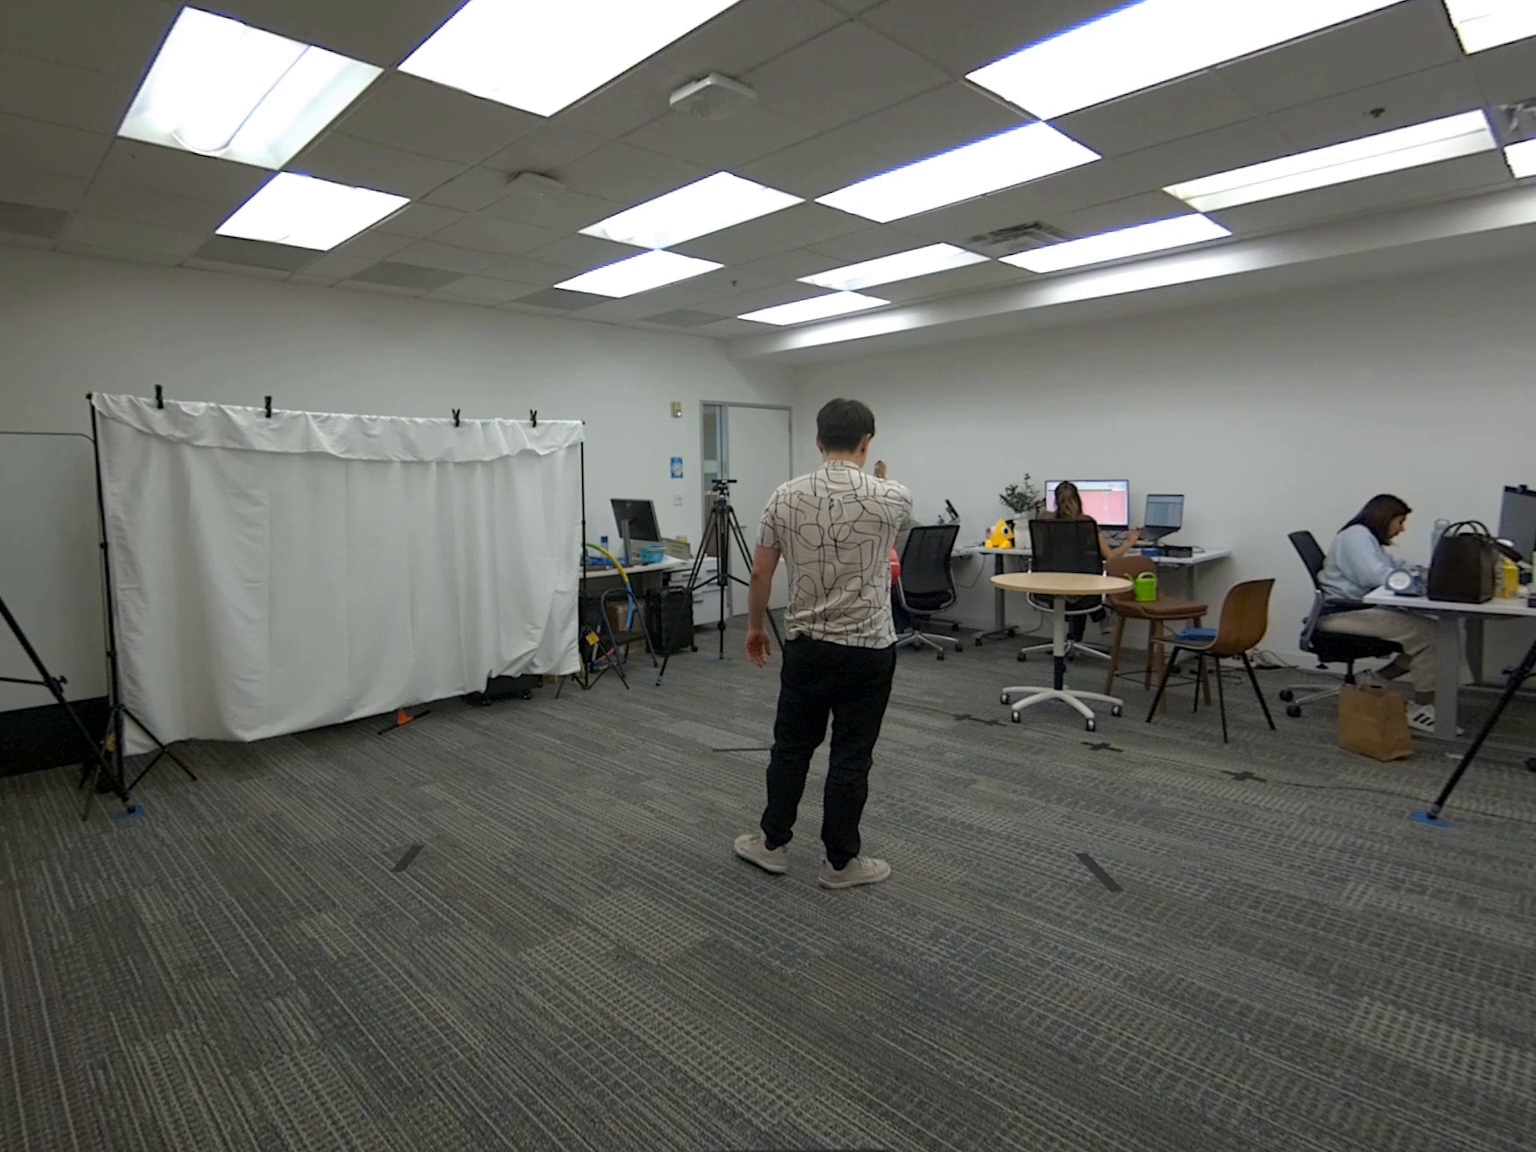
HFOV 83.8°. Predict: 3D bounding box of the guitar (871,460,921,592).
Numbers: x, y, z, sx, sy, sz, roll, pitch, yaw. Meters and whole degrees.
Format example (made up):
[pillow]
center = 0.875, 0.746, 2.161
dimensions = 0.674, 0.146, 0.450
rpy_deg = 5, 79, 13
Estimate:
[guitar]
center = 0.470, -0.203, 3.391
dimensions = 0.069, 0.497, 0.199
rpy_deg = 6, 3, -34
